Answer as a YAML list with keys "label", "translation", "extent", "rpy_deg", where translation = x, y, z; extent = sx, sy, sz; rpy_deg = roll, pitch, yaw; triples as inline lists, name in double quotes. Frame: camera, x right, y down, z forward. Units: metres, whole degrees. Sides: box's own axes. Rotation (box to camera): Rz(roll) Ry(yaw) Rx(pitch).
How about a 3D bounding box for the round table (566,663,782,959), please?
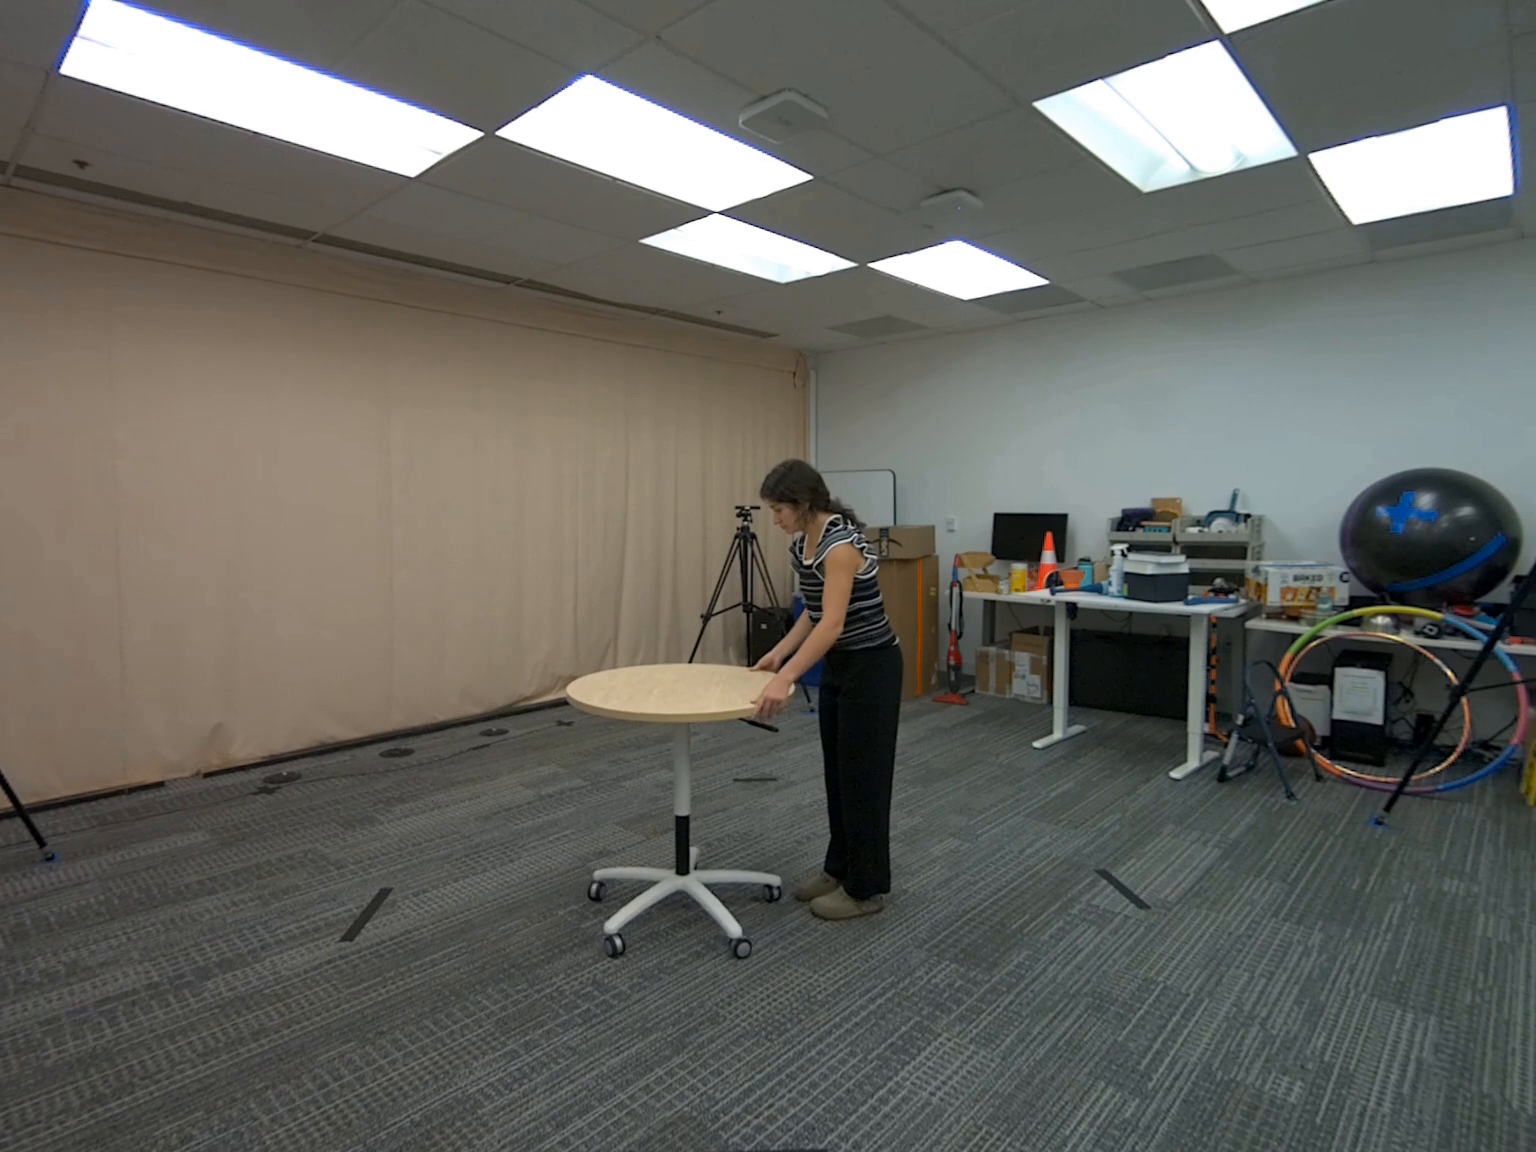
- label: "round table"
  translation: [-0.305, 0.764, 2.852]
  extent: [0.784, 0.785, 0.788]
  rpy_deg: [0, 3, -2]
